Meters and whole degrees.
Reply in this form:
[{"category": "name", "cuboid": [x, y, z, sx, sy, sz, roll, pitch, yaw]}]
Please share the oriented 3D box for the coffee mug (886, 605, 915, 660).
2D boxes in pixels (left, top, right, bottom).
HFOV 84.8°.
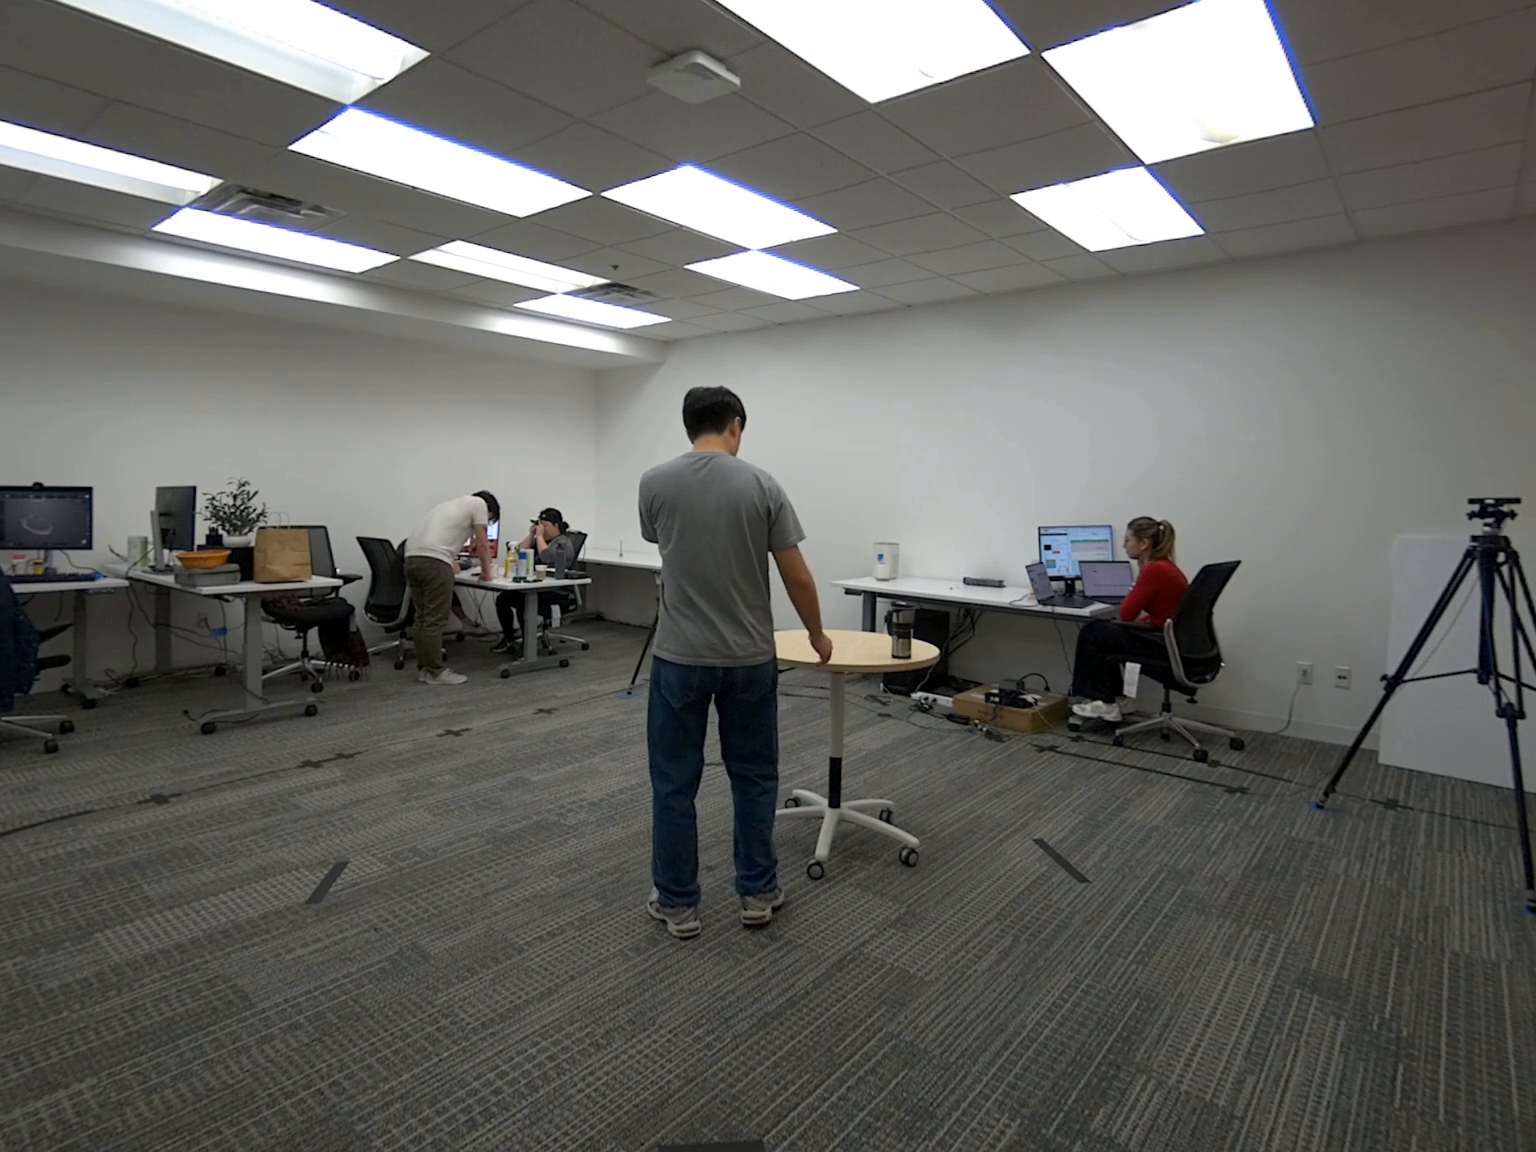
[{"category": "coffee mug", "cuboid": [0.465, 0.196, 3.096, 0.119, 0.202, 0.090, 5, 4, -25]}]
